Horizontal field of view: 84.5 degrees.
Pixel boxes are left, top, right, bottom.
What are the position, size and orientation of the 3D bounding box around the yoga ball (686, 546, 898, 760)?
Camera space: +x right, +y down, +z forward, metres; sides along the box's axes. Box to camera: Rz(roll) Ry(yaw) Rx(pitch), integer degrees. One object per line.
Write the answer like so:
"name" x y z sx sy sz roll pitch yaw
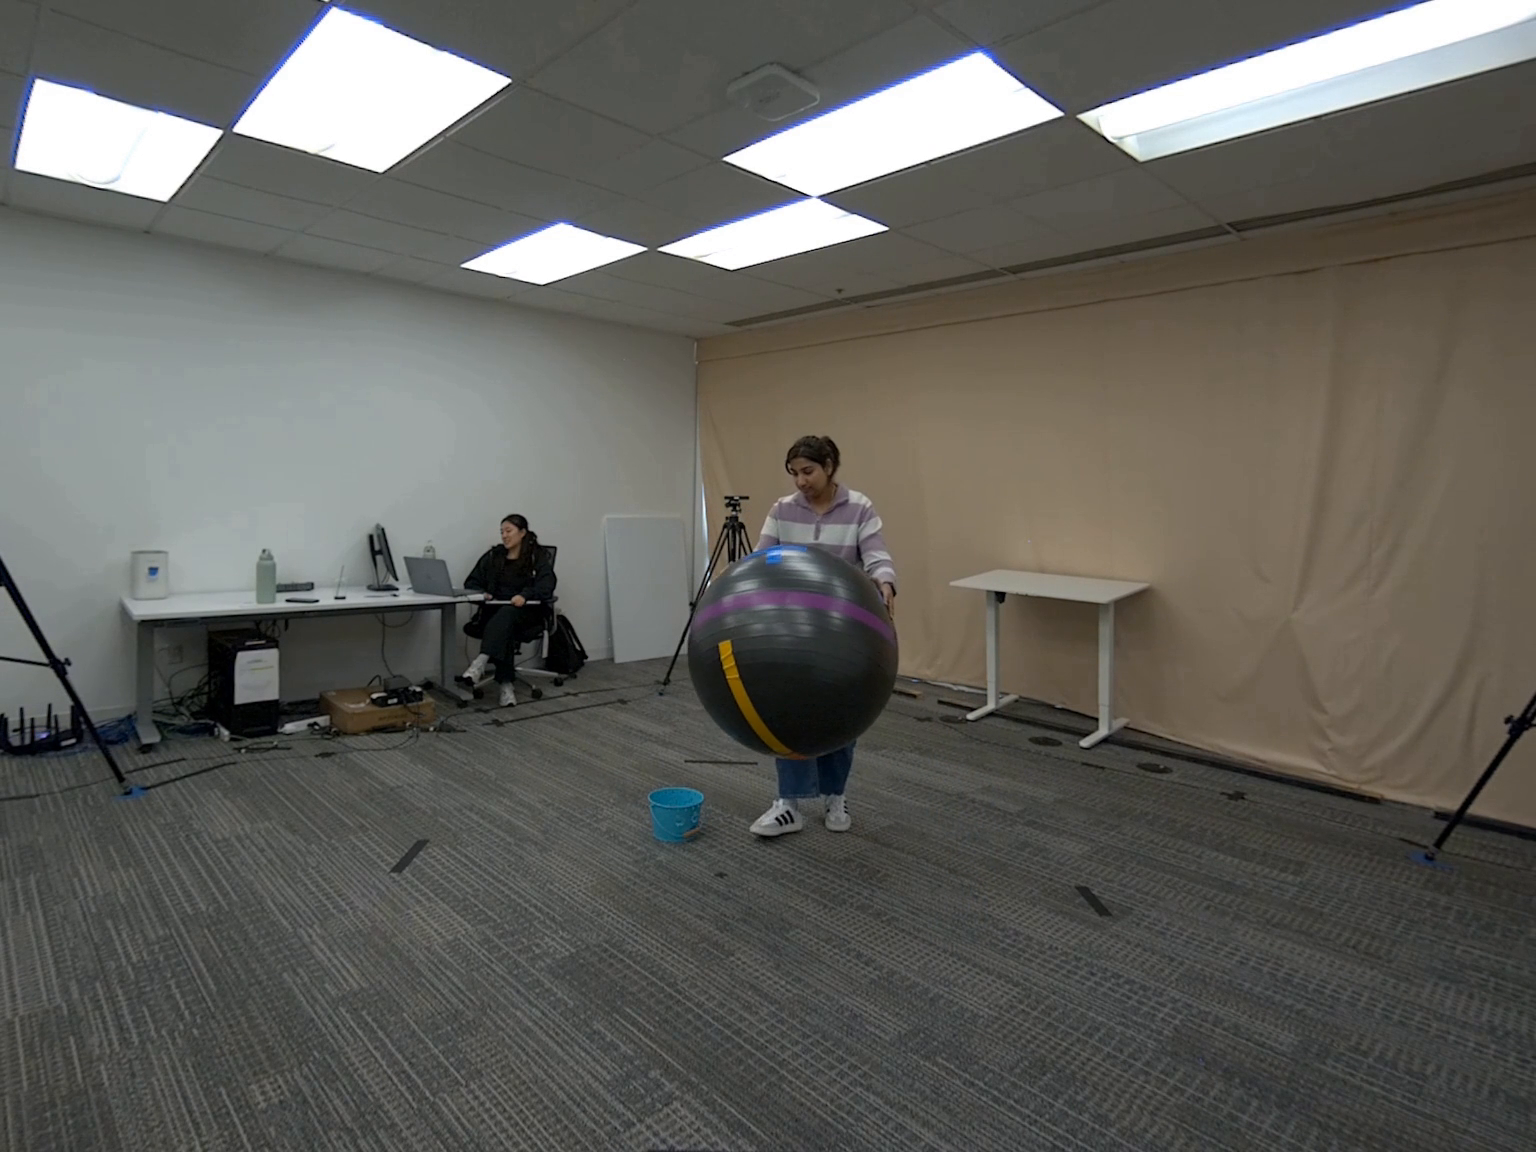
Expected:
"yoga ball" 0.082 0.275 3.027 0.757 0.756 0.761 1 4 -1
